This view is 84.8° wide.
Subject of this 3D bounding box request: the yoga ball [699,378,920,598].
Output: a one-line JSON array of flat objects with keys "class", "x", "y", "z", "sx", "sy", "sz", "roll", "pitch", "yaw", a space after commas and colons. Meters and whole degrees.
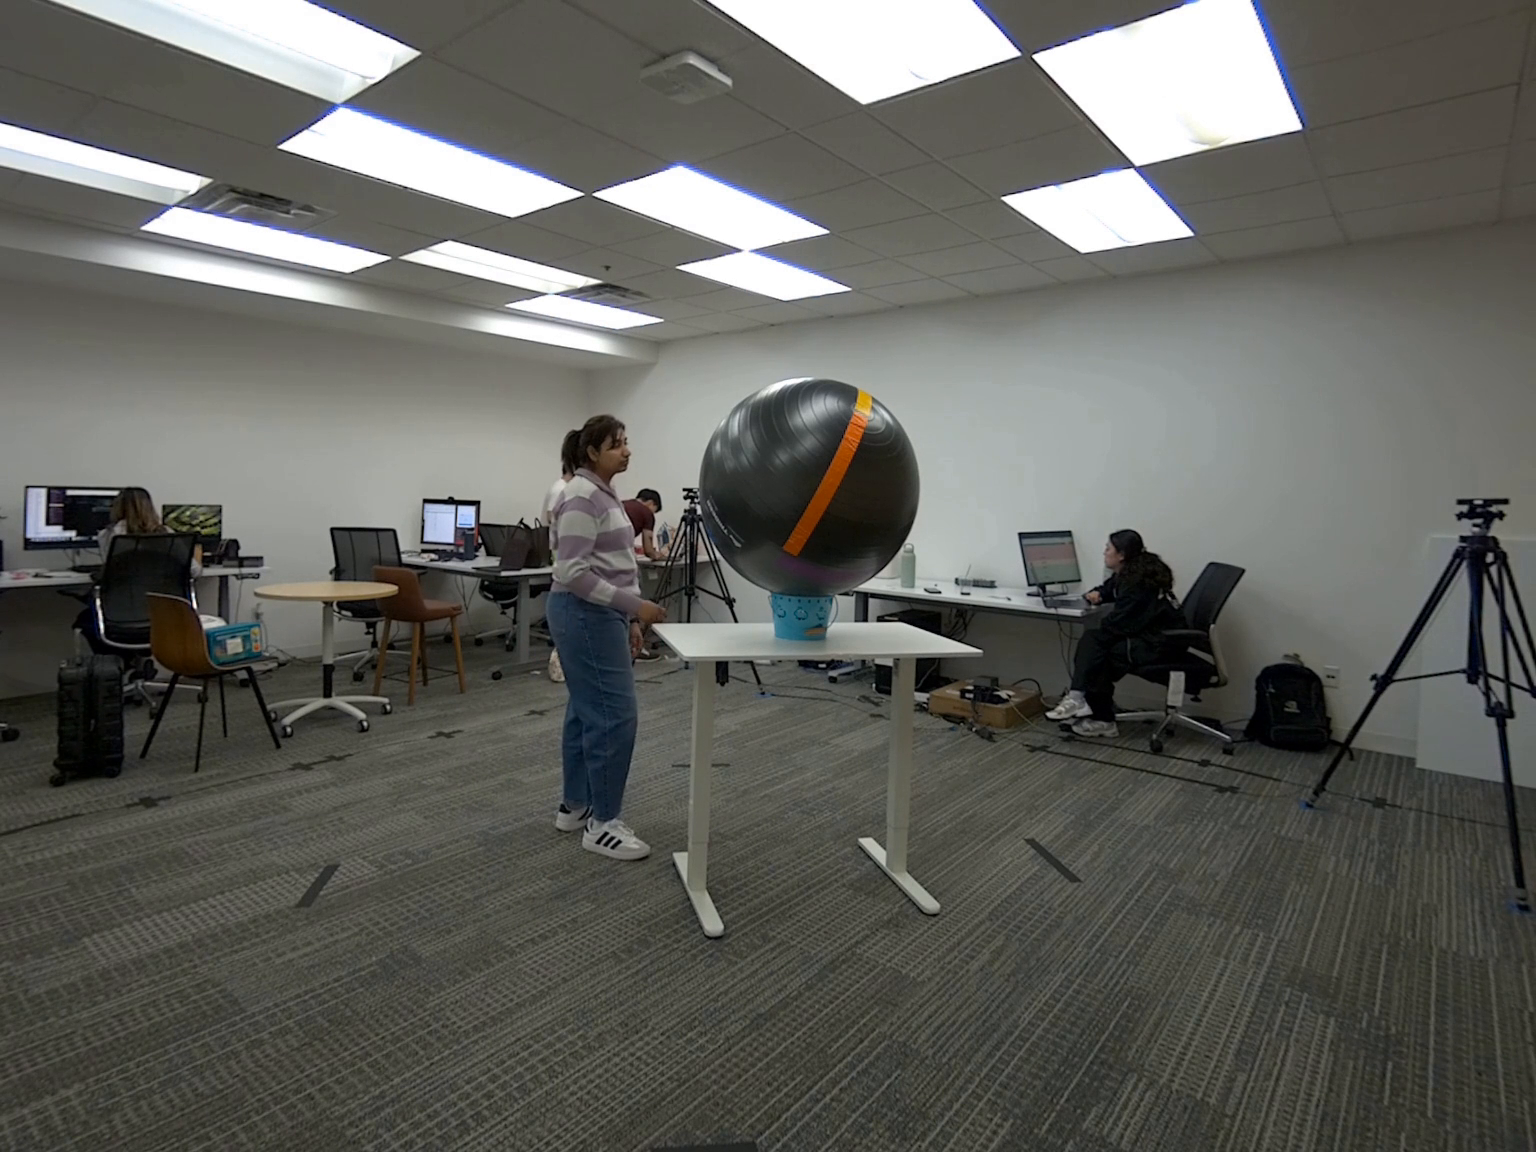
[{"class": "yoga ball", "x": 0.135, "y": -0.301, "z": 2.939, "sx": 0.757, "sy": 0.755, "sz": 0.762, "roll": 1, "pitch": 4, "yaw": -2}]
